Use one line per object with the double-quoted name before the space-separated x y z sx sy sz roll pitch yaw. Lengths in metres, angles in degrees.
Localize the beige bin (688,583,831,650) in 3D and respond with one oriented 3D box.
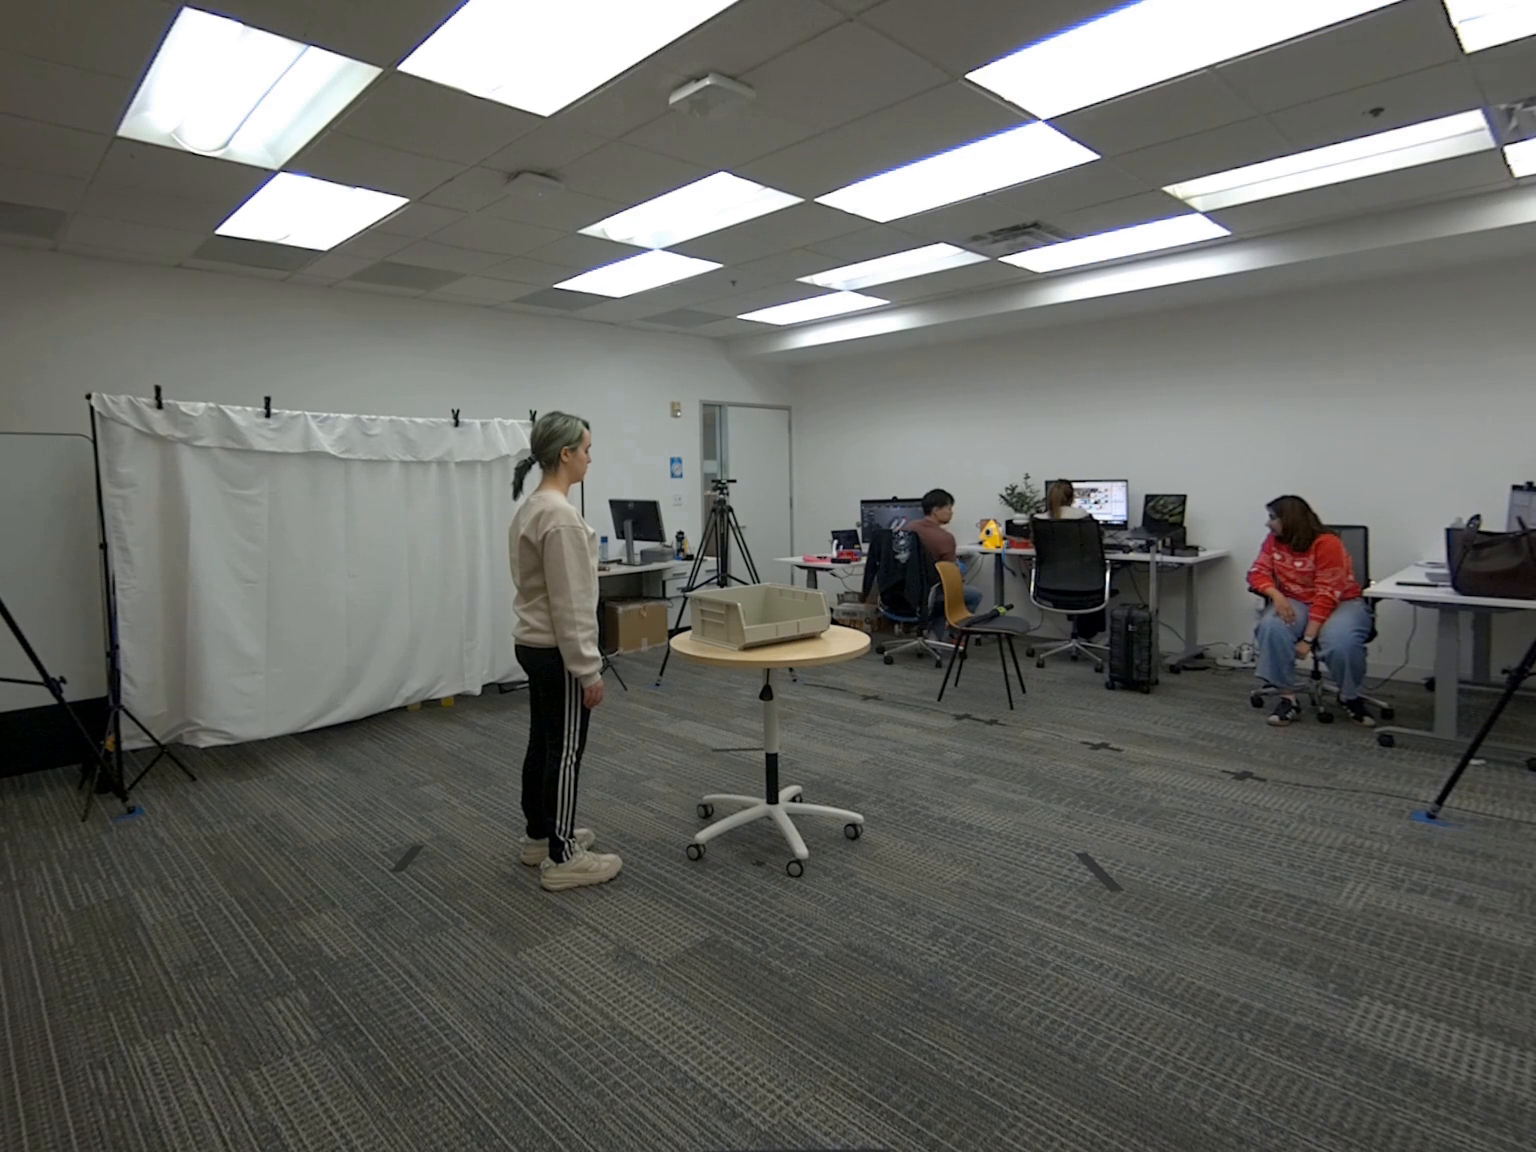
"beige bin" -0.038 0.153 3.290 0.412 0.188 0.388 -6 7 -37
